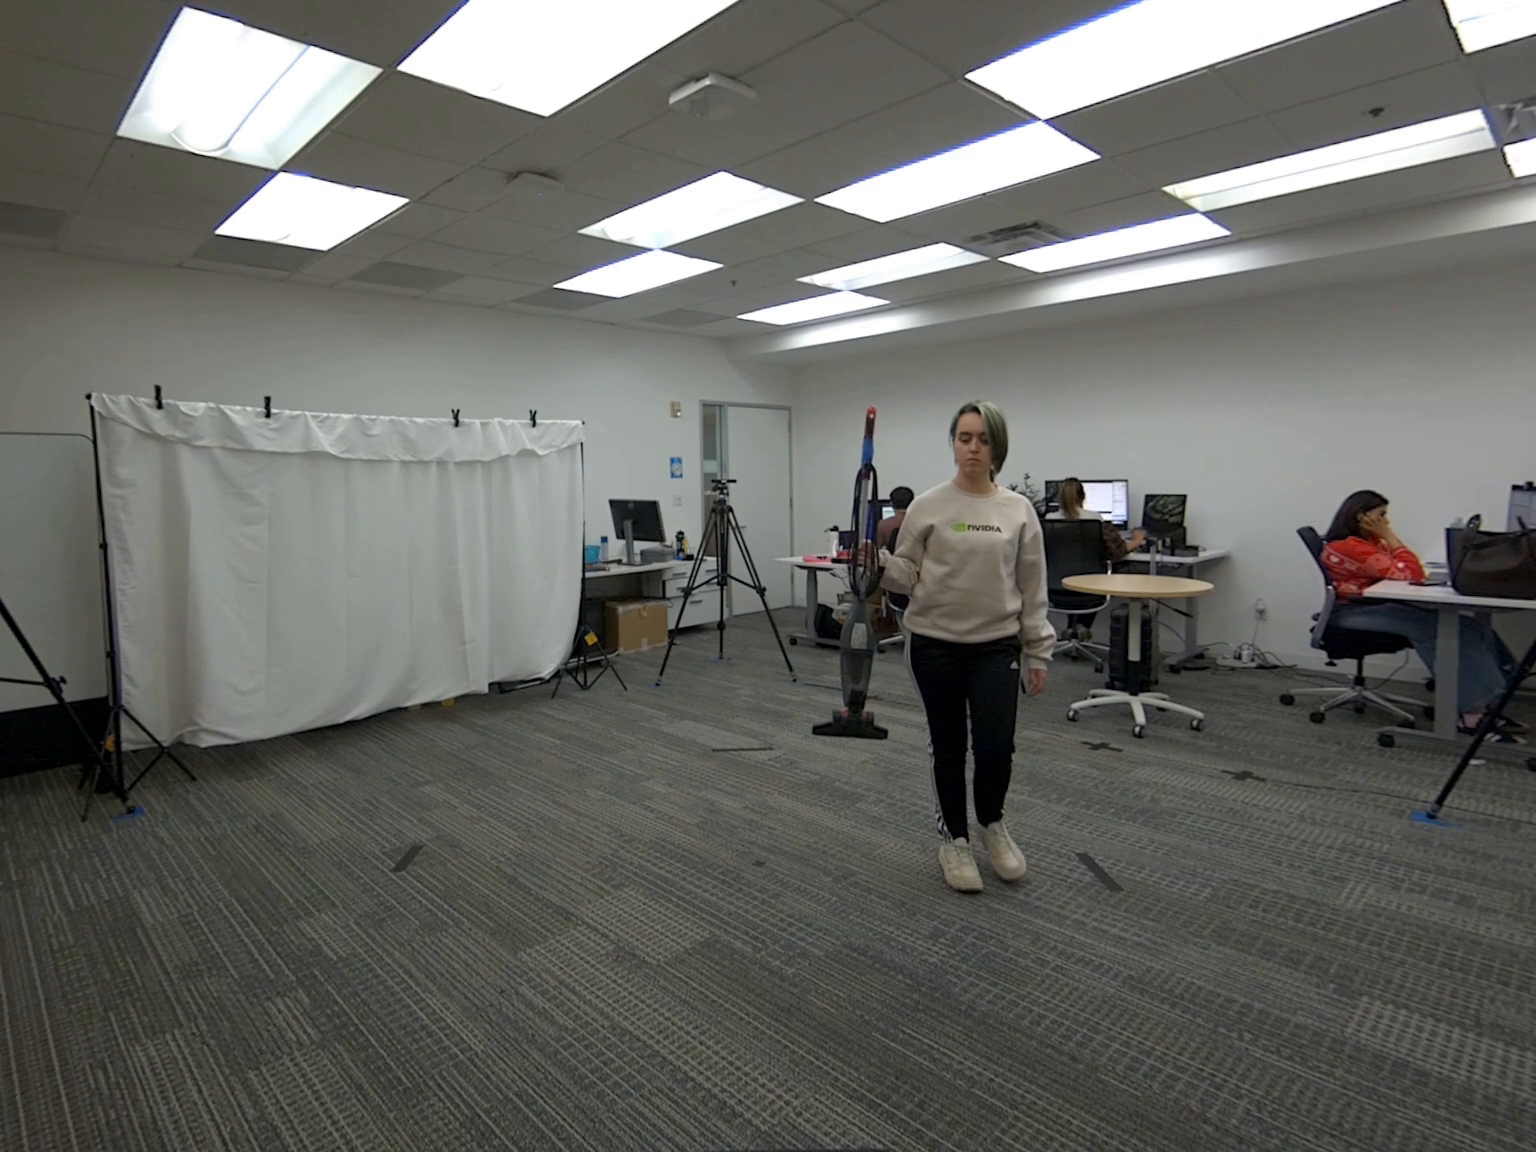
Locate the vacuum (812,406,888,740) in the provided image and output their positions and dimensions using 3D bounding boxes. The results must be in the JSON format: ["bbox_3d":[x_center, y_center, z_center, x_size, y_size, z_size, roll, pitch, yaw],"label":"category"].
[{"bbox_3d":[0.308,-0.007,2.813,0.250,1.047,0.145,3,2,-9],"label":"vacuum"}]
